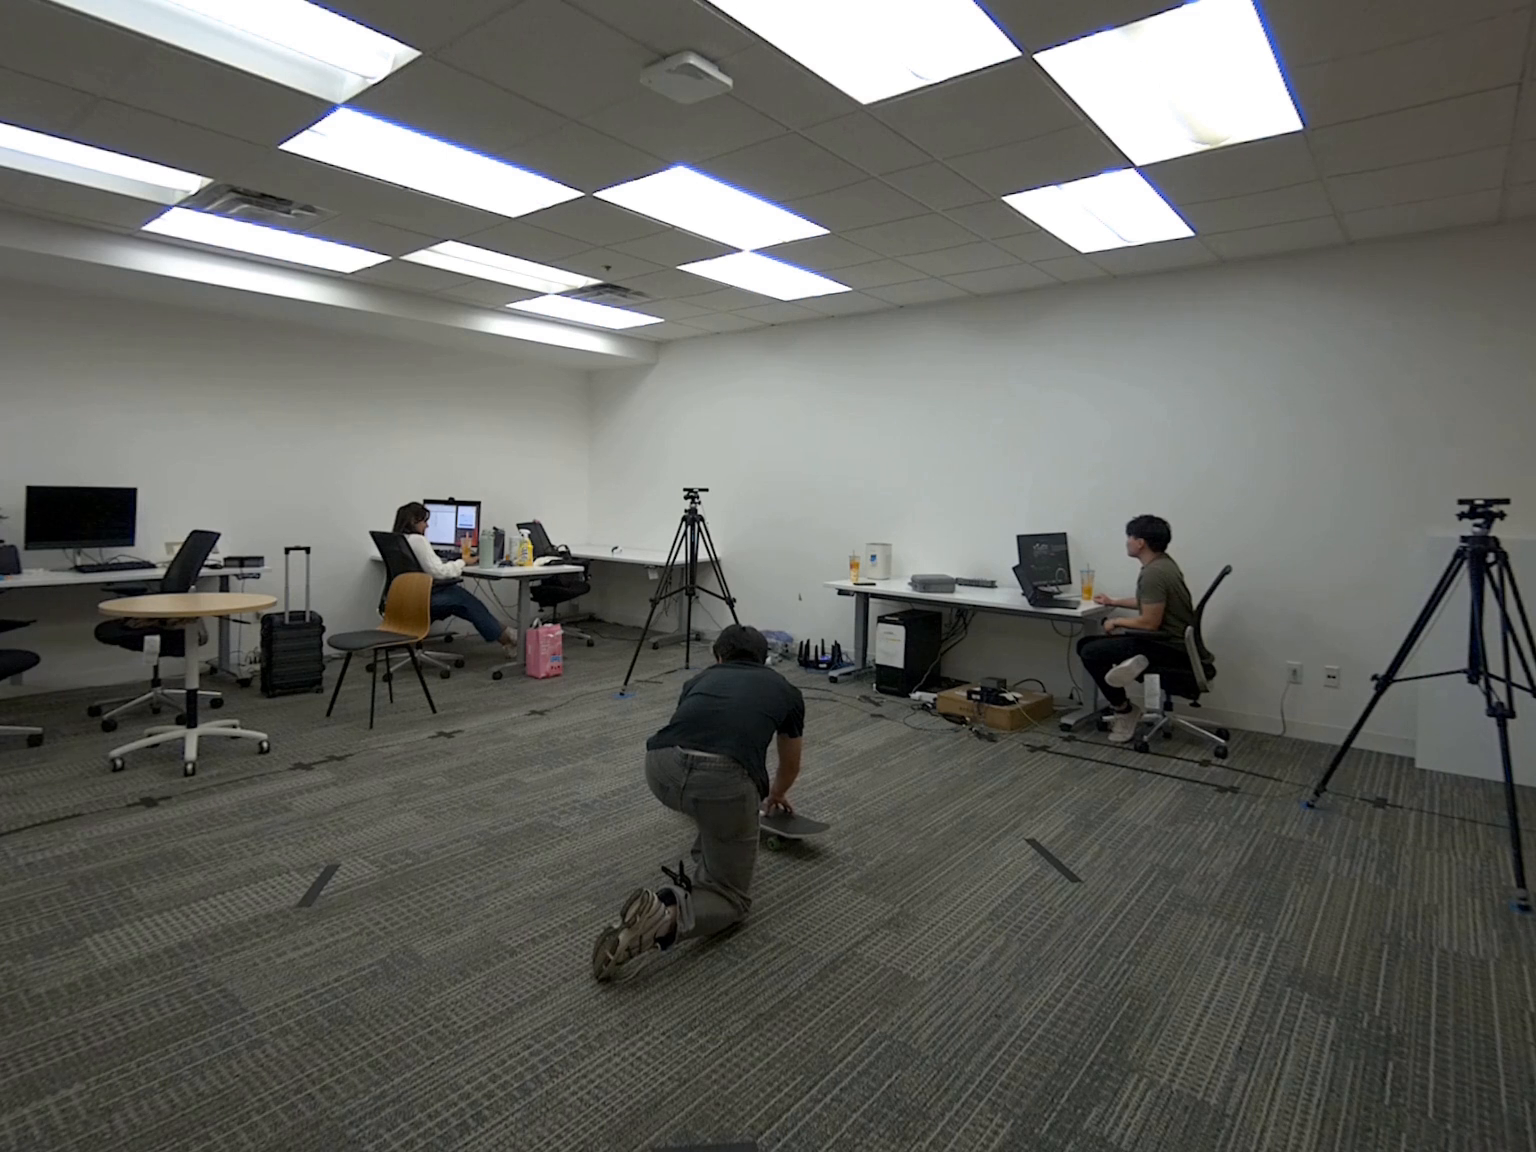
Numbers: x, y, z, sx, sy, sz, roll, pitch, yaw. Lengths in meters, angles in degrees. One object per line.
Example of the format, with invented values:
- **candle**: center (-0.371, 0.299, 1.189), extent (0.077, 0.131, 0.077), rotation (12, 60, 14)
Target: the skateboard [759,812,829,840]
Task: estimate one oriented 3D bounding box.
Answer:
- **skateboard**: center (-0.094, 0.974, 3.475), extent (0.812, 0.110, 0.188), rotation (6, 7, 40)
